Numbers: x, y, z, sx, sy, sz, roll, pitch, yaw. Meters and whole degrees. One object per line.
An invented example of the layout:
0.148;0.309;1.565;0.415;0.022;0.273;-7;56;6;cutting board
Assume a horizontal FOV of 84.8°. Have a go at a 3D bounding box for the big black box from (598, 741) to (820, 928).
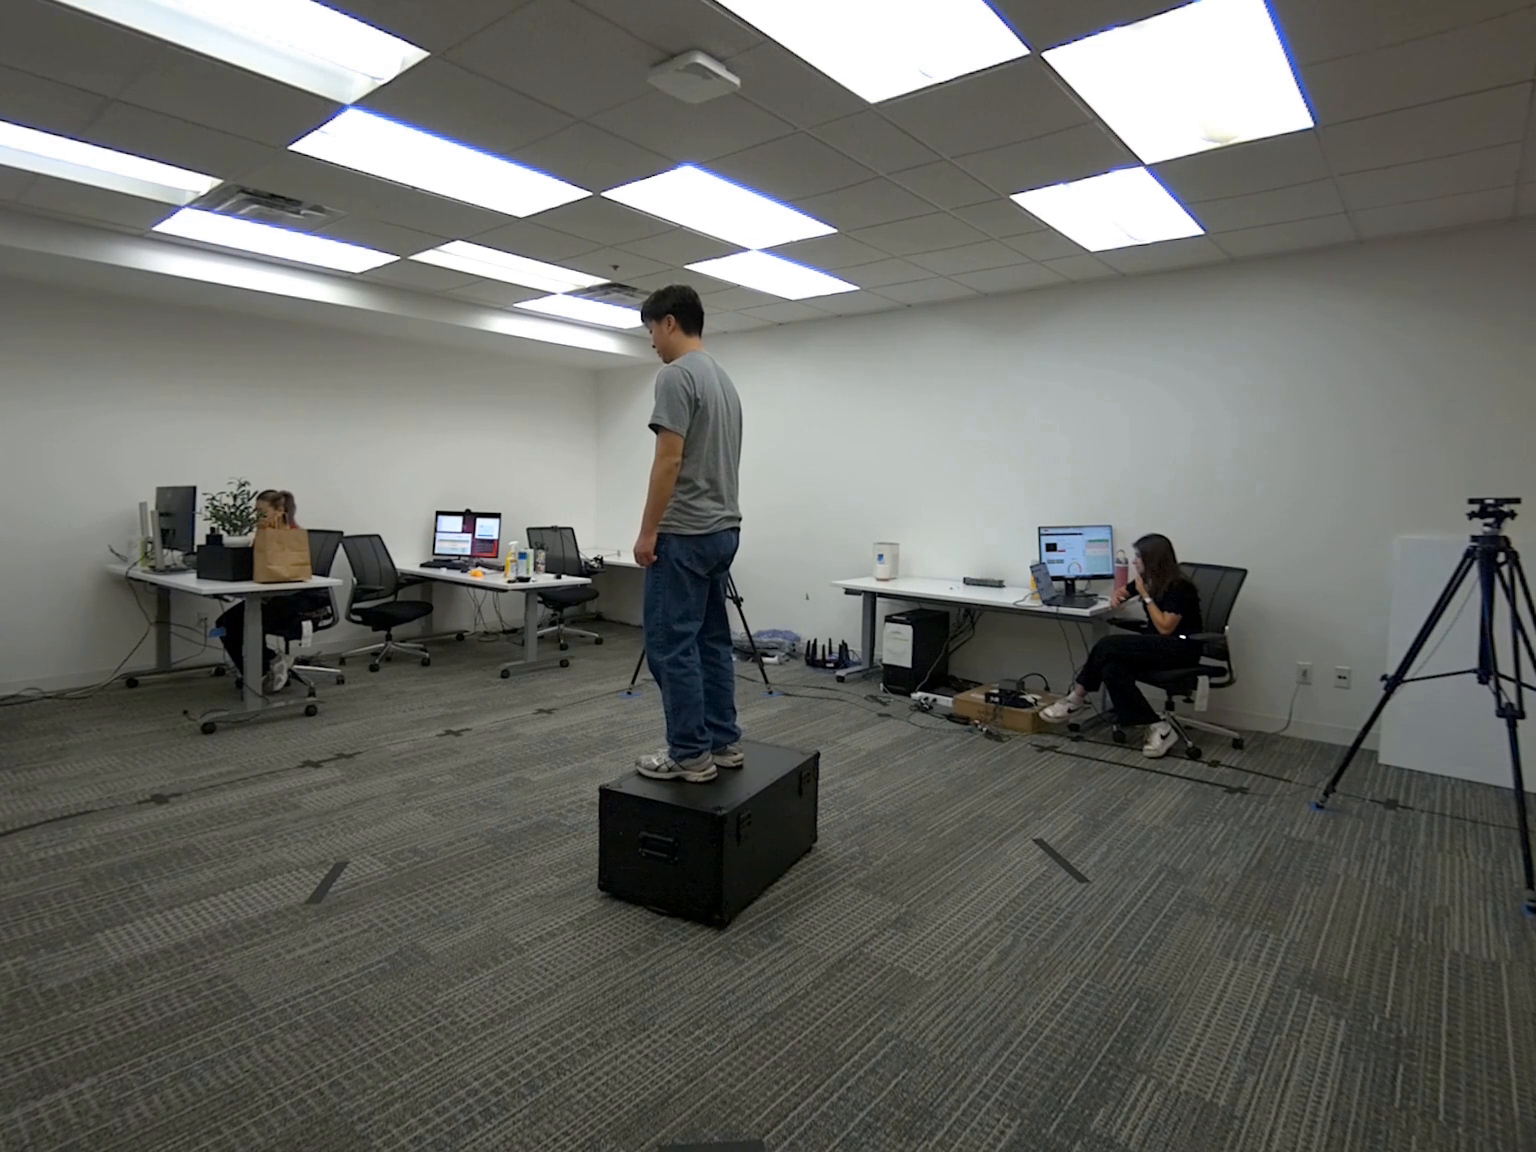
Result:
-0.181;0.875;3.117;0.536;0.395;0.841;3;6;27;big black box
